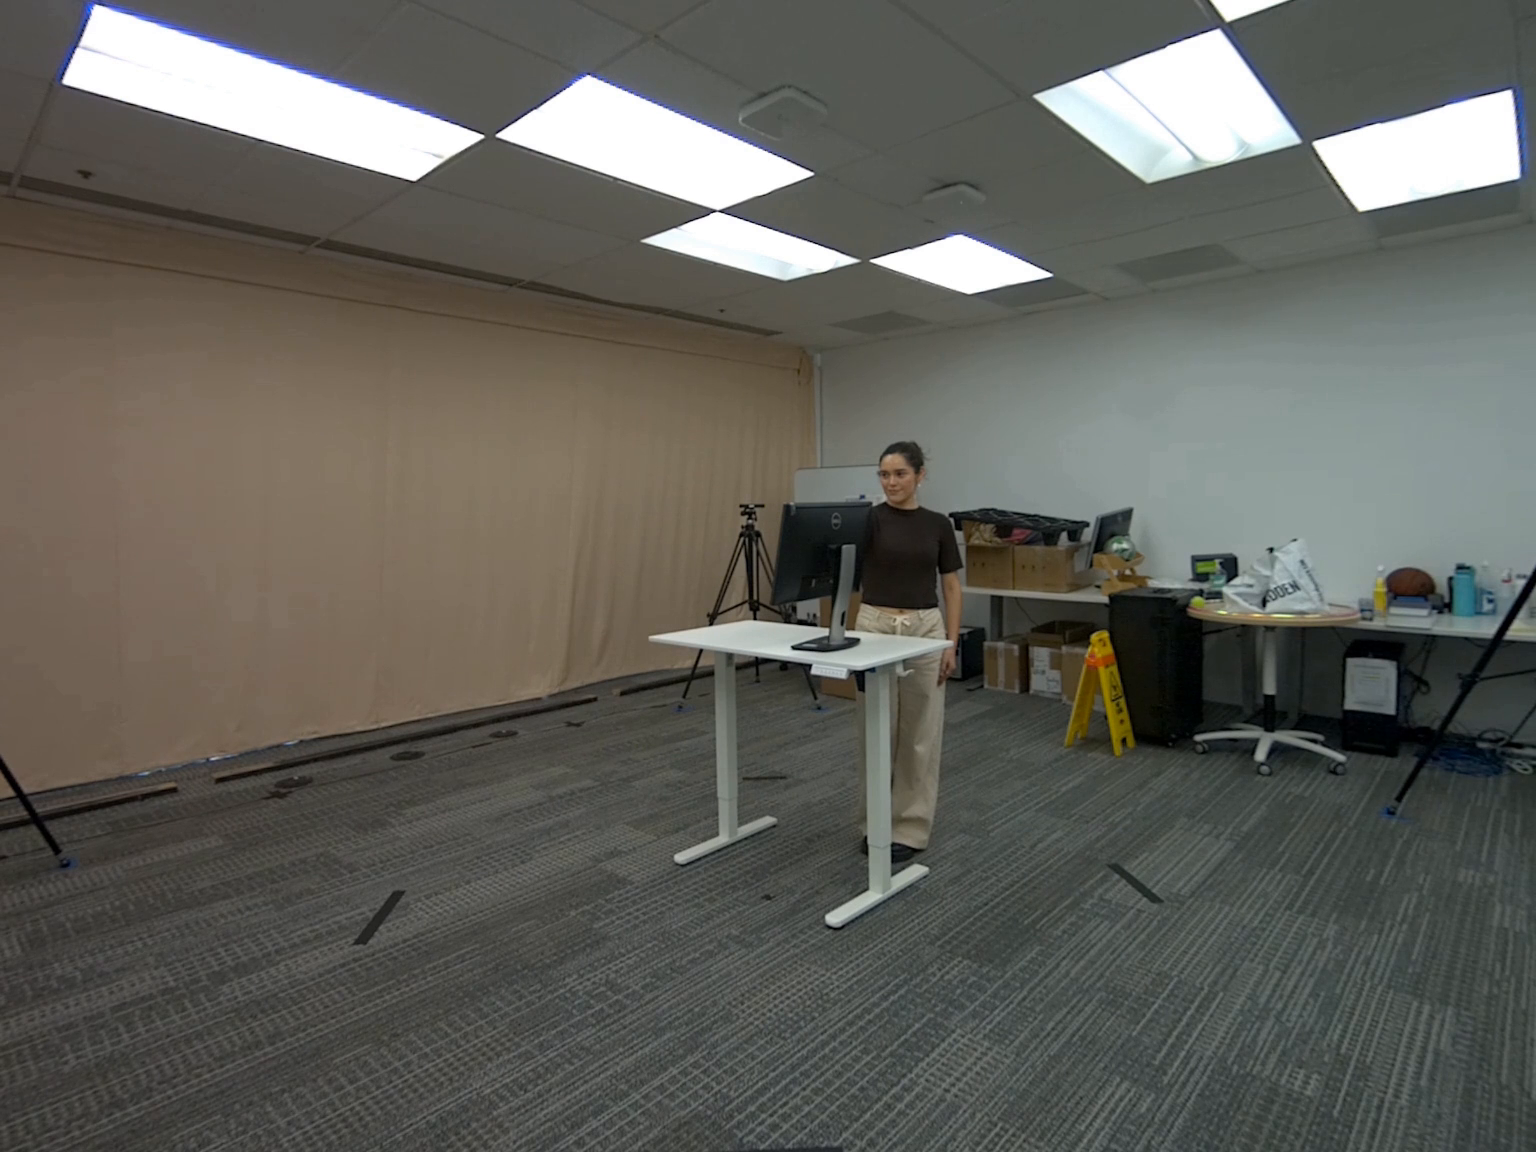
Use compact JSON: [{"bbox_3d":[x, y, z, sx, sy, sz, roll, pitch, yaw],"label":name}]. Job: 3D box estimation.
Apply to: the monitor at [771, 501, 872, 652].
[{"bbox_3d":[0.218,0.001,2.992,0.193,0.522,0.523,0,4,40],"label":"monitor"}]
